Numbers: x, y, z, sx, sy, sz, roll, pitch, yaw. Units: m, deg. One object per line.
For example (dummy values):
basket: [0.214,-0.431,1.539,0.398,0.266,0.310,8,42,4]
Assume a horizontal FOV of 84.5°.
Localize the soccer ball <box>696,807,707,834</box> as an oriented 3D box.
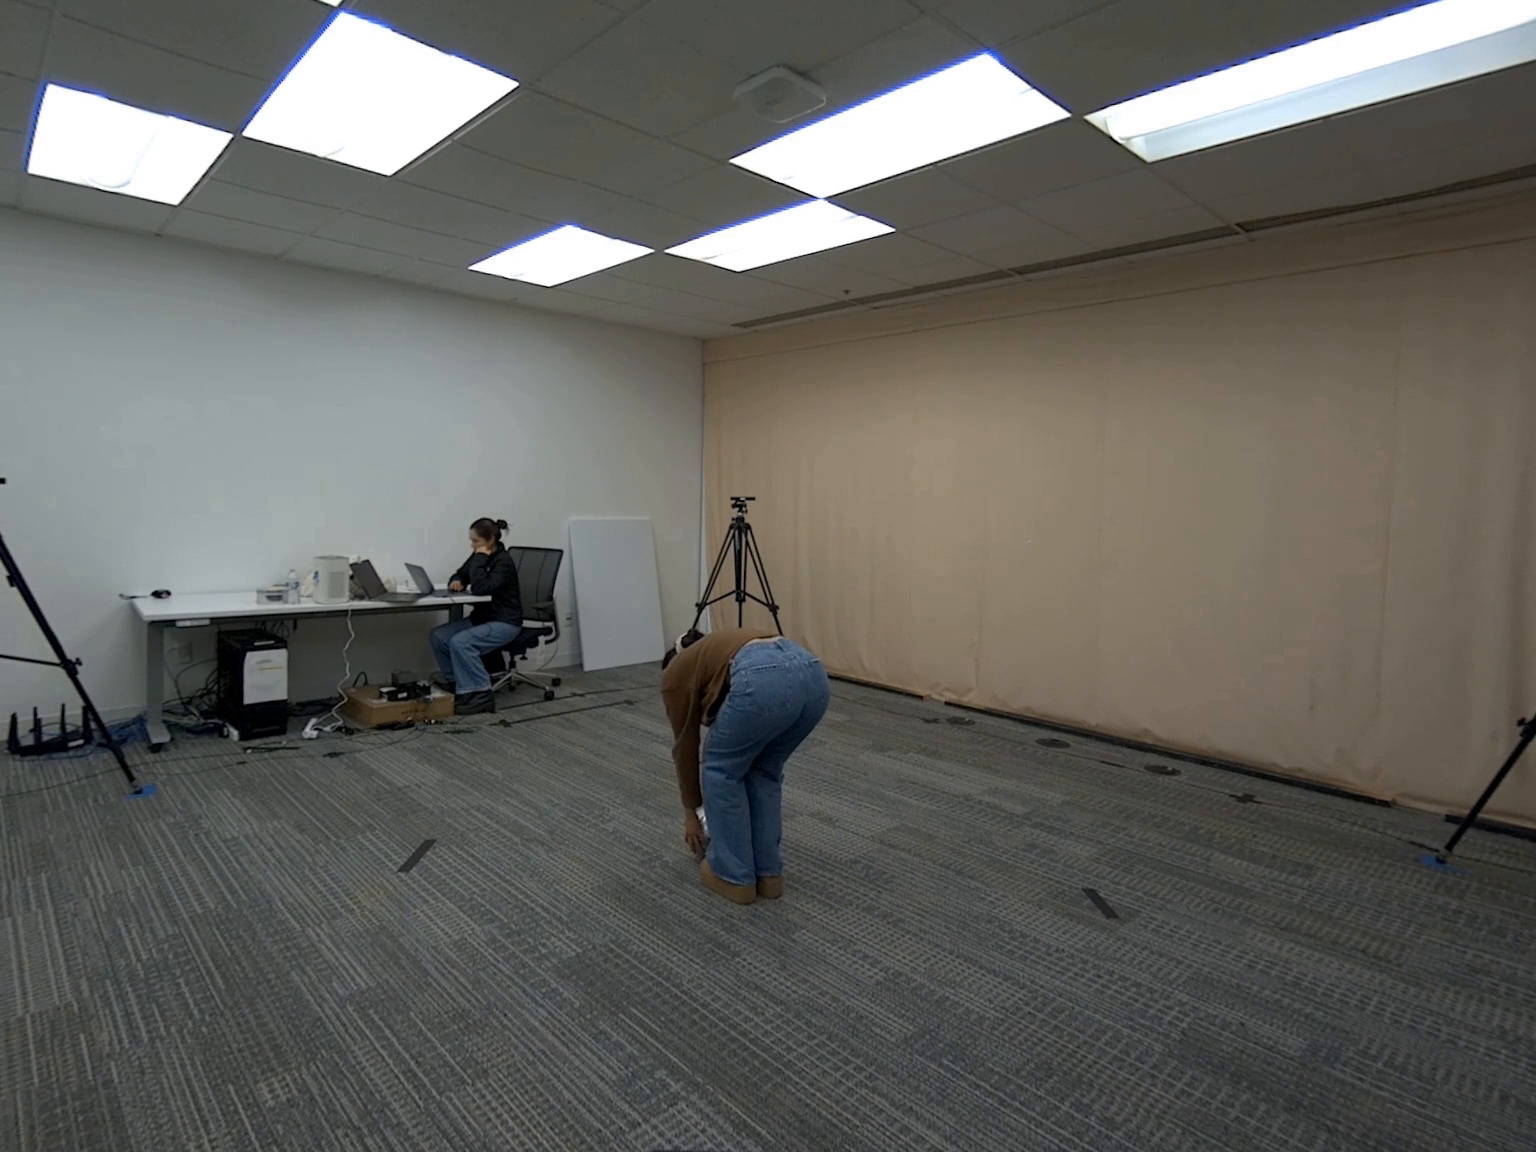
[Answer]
soccer ball: [-0.230,0.990,3.250,0.187,0.187,0.188,1,4,-1]
